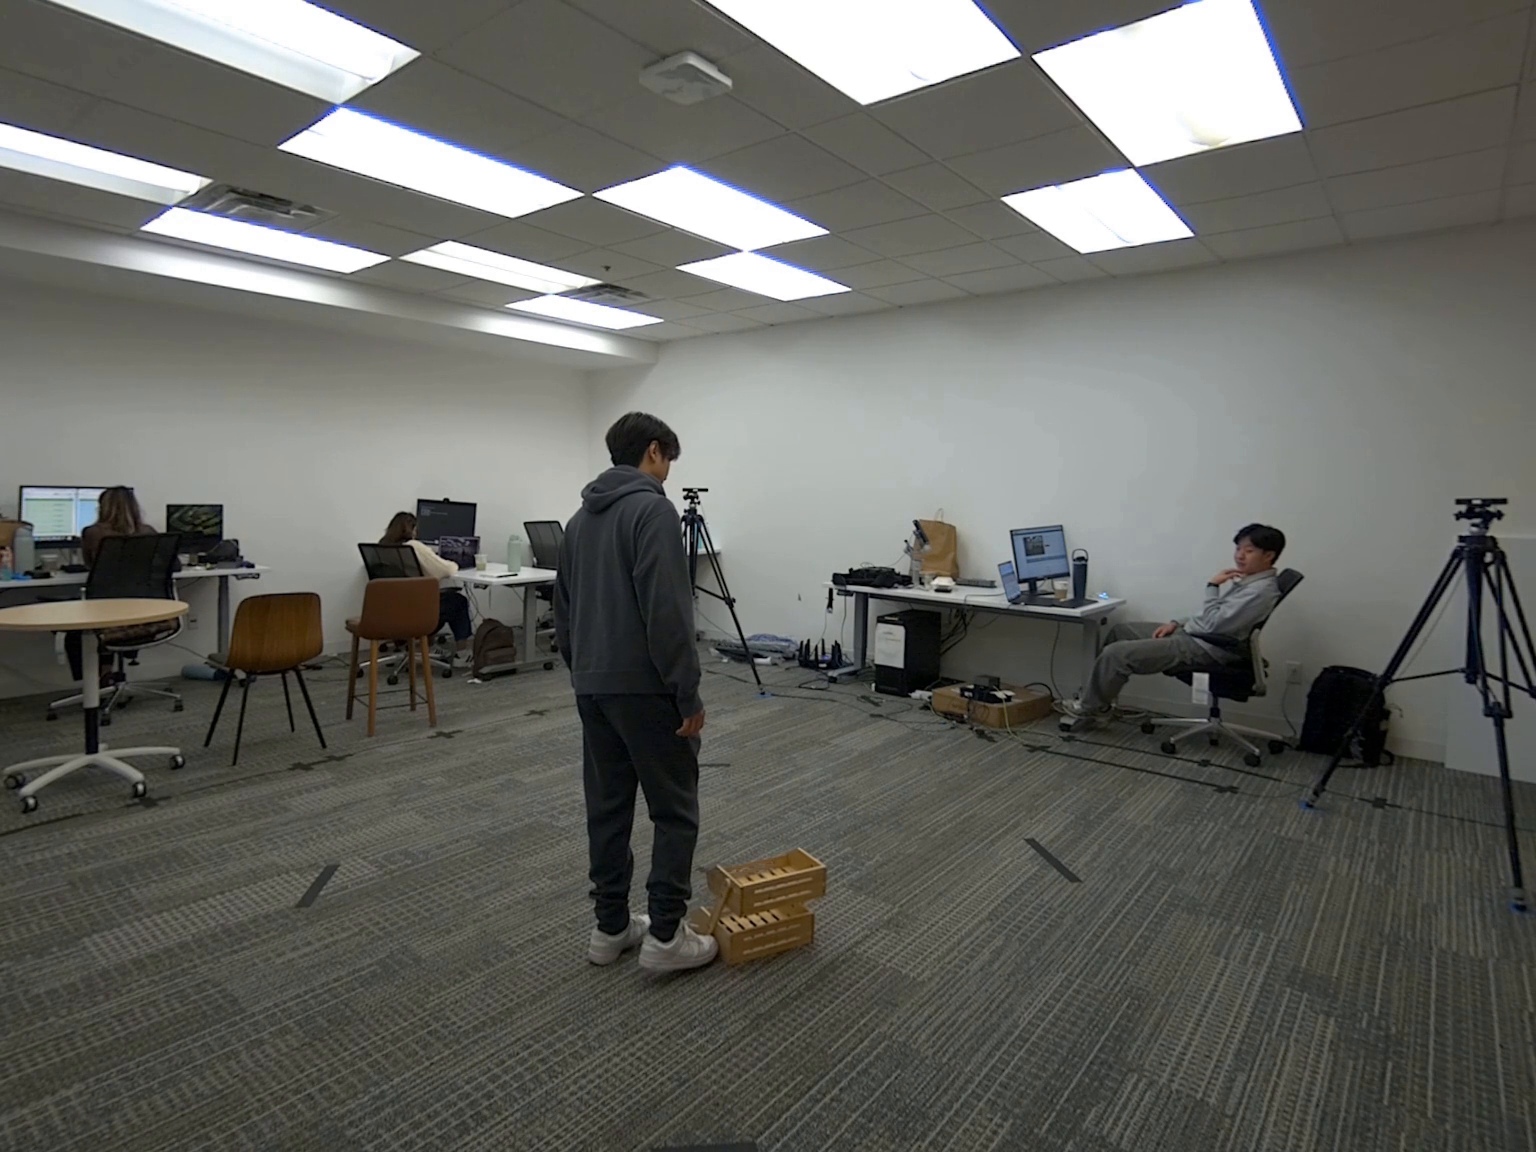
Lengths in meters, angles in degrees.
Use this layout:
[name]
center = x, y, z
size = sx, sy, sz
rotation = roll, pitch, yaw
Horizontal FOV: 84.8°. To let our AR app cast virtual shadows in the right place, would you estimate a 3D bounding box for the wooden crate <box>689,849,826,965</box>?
[wooden crate]
center = -0.048, 0.983, 2.626
size = 0.316, 0.272, 0.312
rotation = -1, 6, -31
